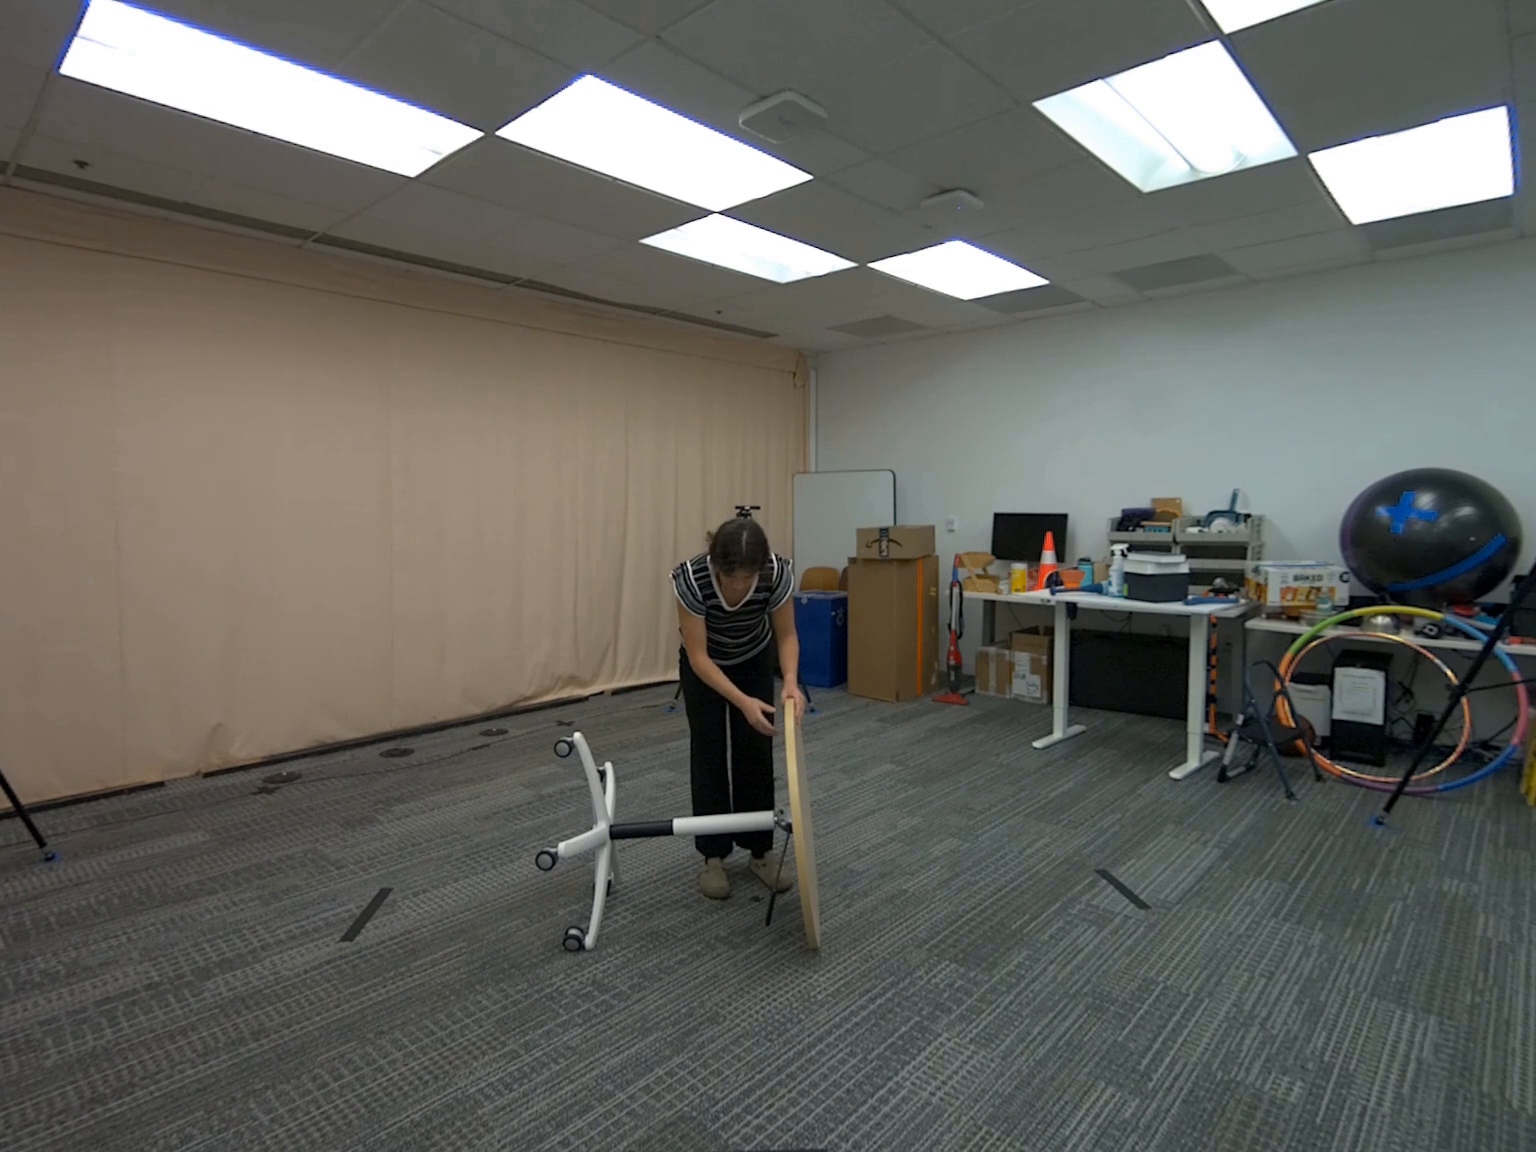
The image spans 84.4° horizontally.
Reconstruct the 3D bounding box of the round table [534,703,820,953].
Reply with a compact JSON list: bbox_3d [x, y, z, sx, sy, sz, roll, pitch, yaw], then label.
[{"bbox_3d":[-0.271,0.831,2.771,0.798,0.762,0.761,-6,3,5],"label":"round table"}]
